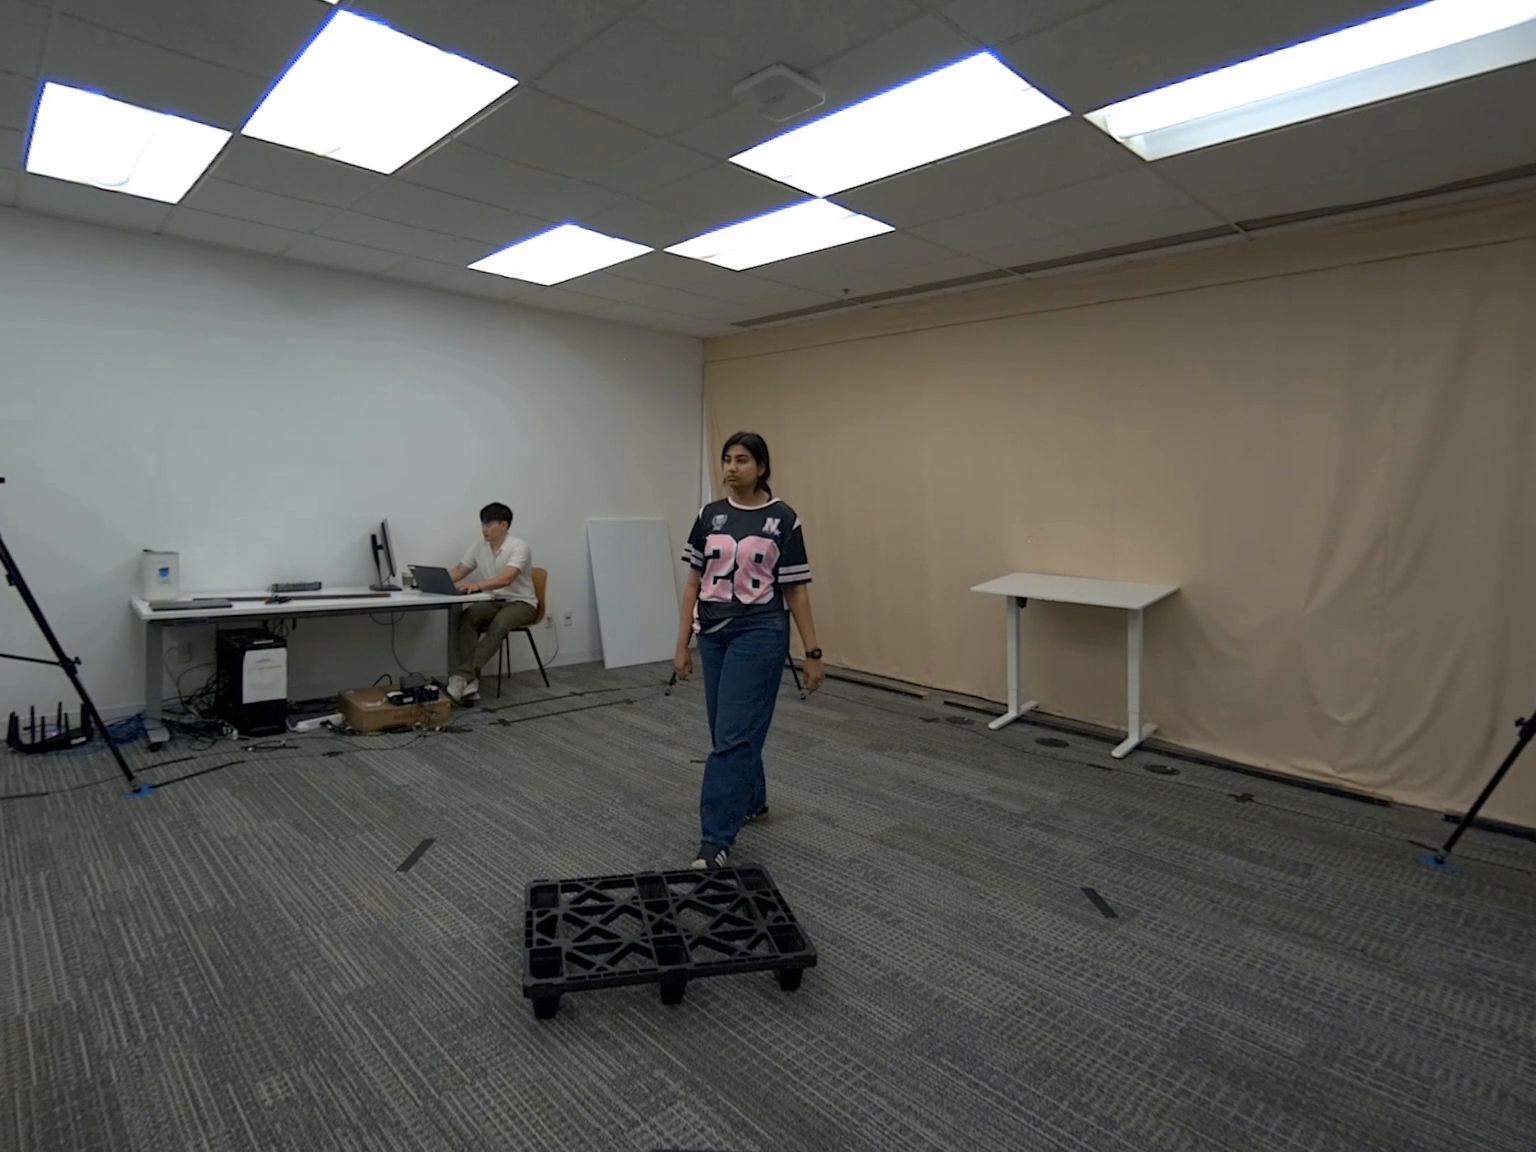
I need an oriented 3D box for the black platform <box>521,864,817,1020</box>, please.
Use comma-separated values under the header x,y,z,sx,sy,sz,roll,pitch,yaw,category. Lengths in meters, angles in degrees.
x,y,z,sx,sy,sz,roll,pitch,yaw,category
-0.329,1.080,2.536,0.797,0.143,0.613,0,5,-13,black platform
